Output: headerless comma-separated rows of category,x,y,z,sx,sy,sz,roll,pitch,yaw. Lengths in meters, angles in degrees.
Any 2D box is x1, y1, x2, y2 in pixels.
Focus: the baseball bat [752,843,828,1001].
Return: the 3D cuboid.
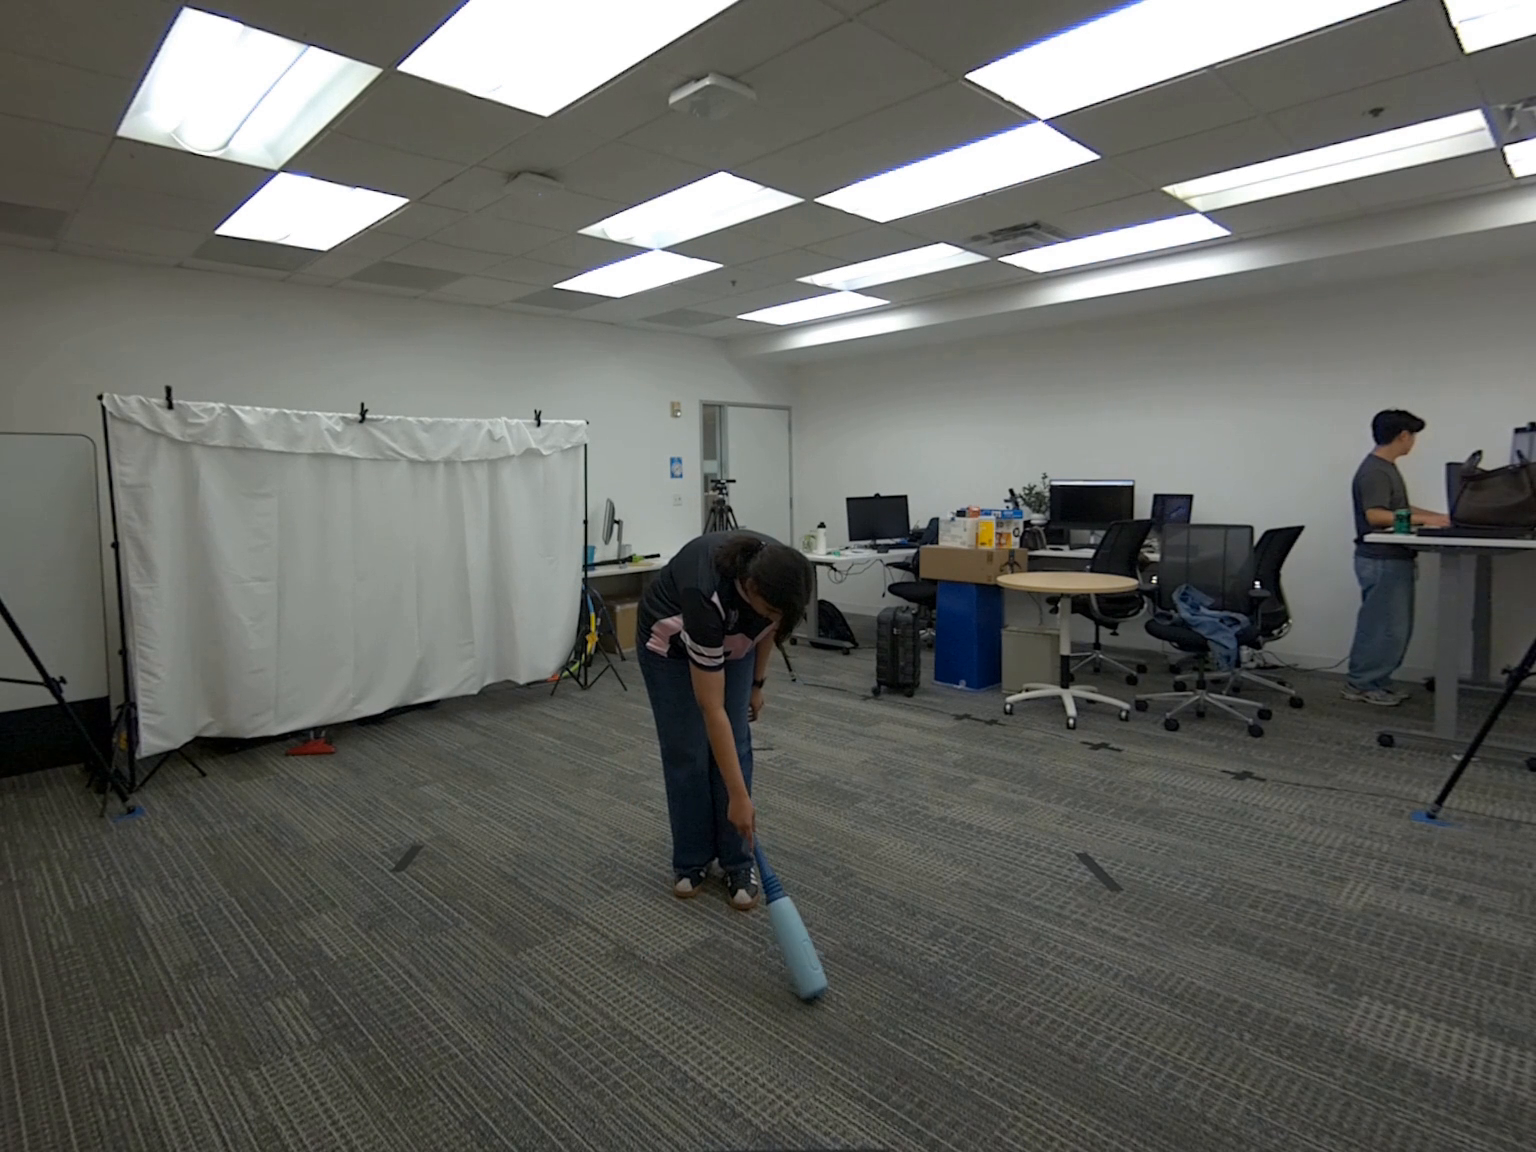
baseball bat,0.026,0.907,2.416,0.088,0.561,0.087,-17,-32,-12
